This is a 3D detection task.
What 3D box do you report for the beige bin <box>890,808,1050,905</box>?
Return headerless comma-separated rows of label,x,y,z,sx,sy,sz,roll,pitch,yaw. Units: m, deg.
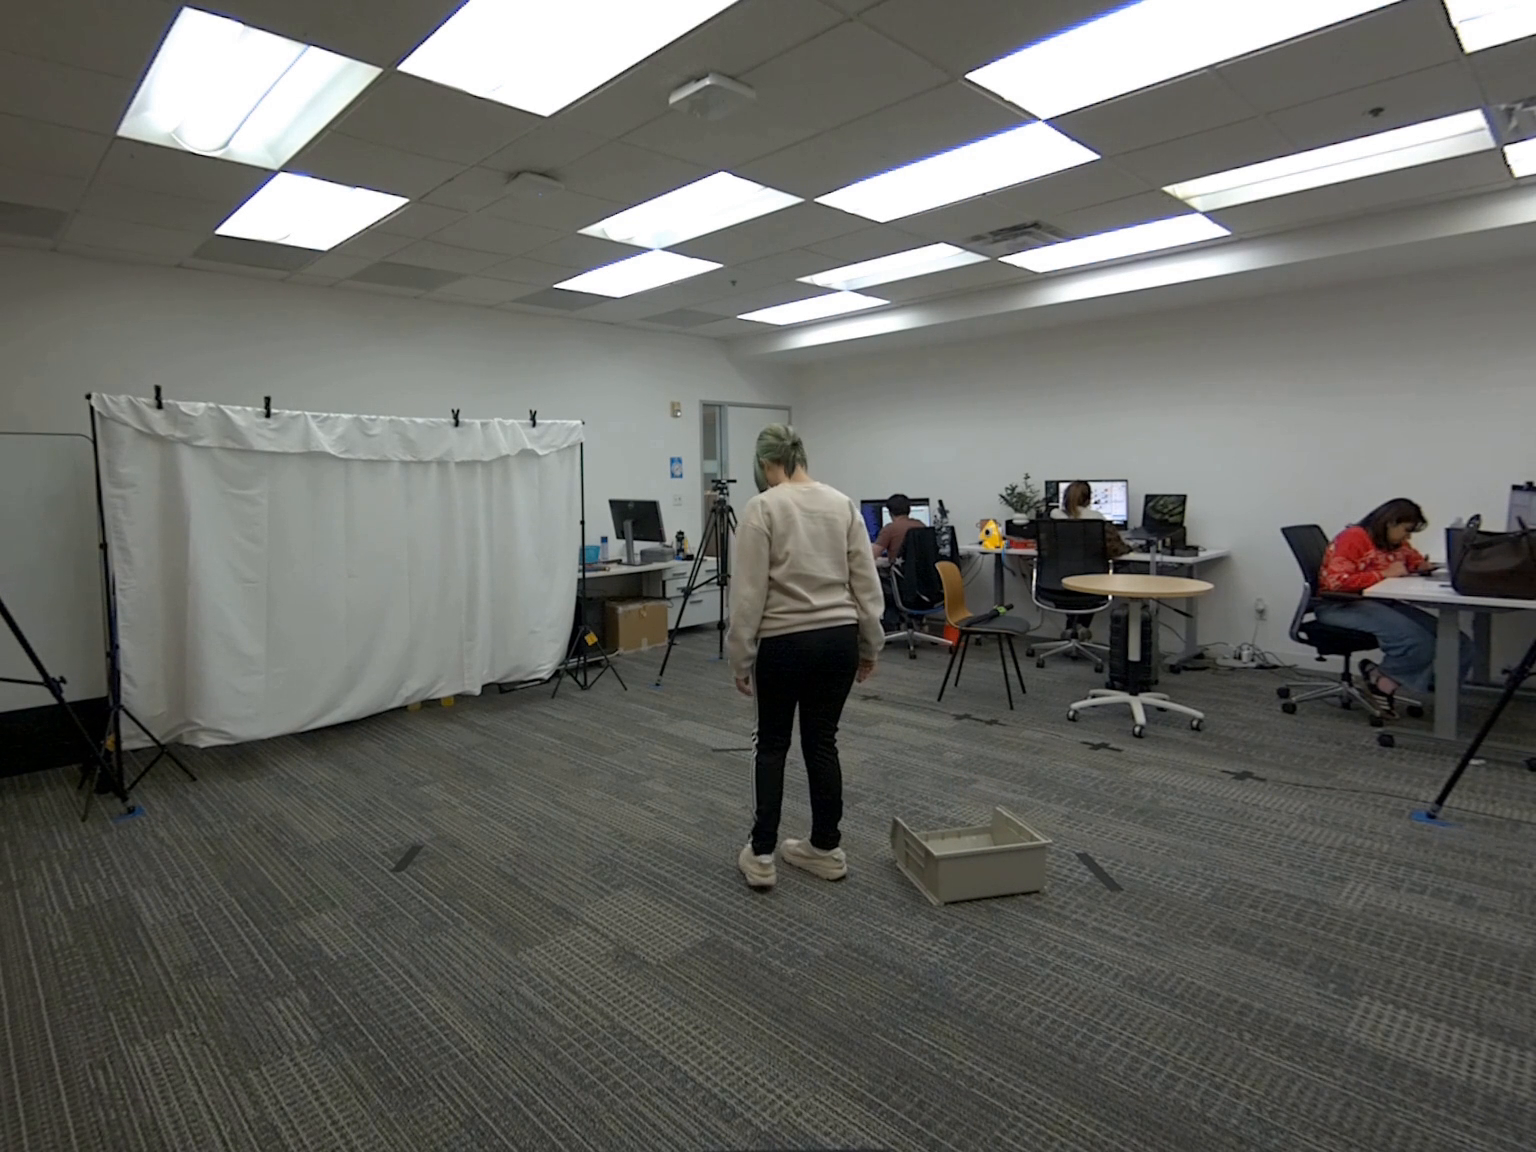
beige bin,0.698,0.959,2.975,0.417,0.188,0.384,-2,6,-13
